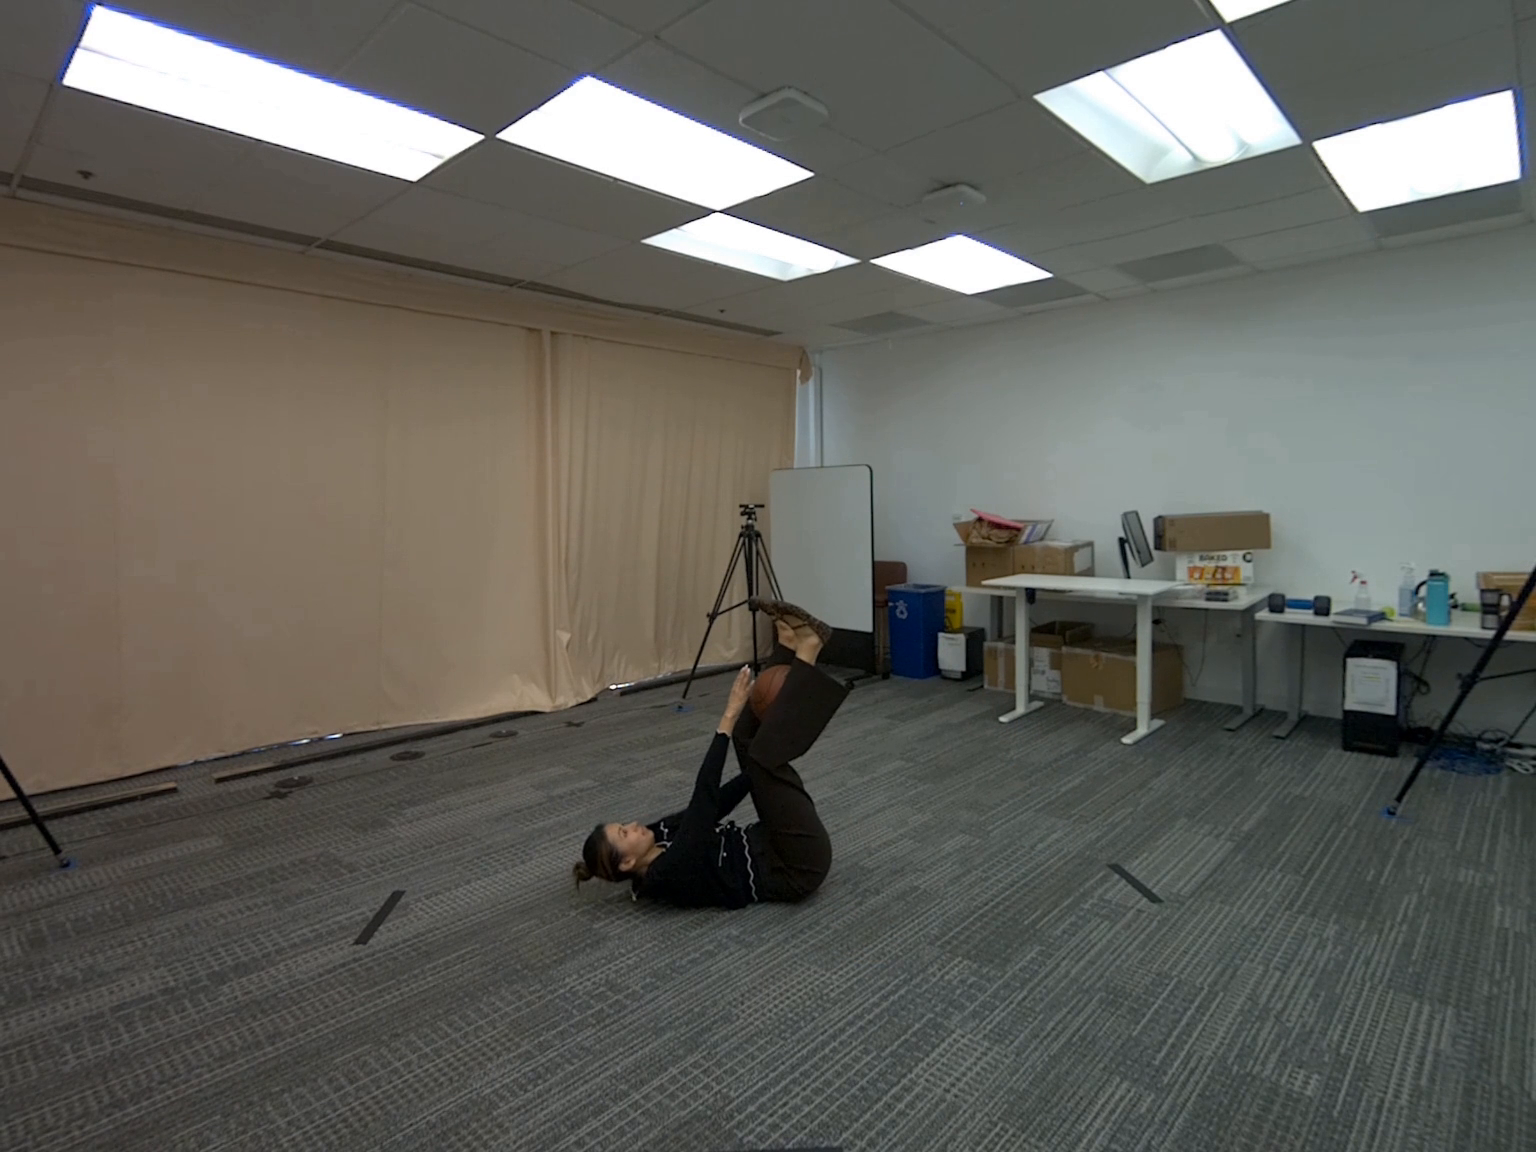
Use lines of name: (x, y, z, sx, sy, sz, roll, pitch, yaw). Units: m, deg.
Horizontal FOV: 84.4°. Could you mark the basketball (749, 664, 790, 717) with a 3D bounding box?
basketball: (0.053, 0.436, 3.043, 0.236, 0.235, 0.237, -1, 4, -2)
